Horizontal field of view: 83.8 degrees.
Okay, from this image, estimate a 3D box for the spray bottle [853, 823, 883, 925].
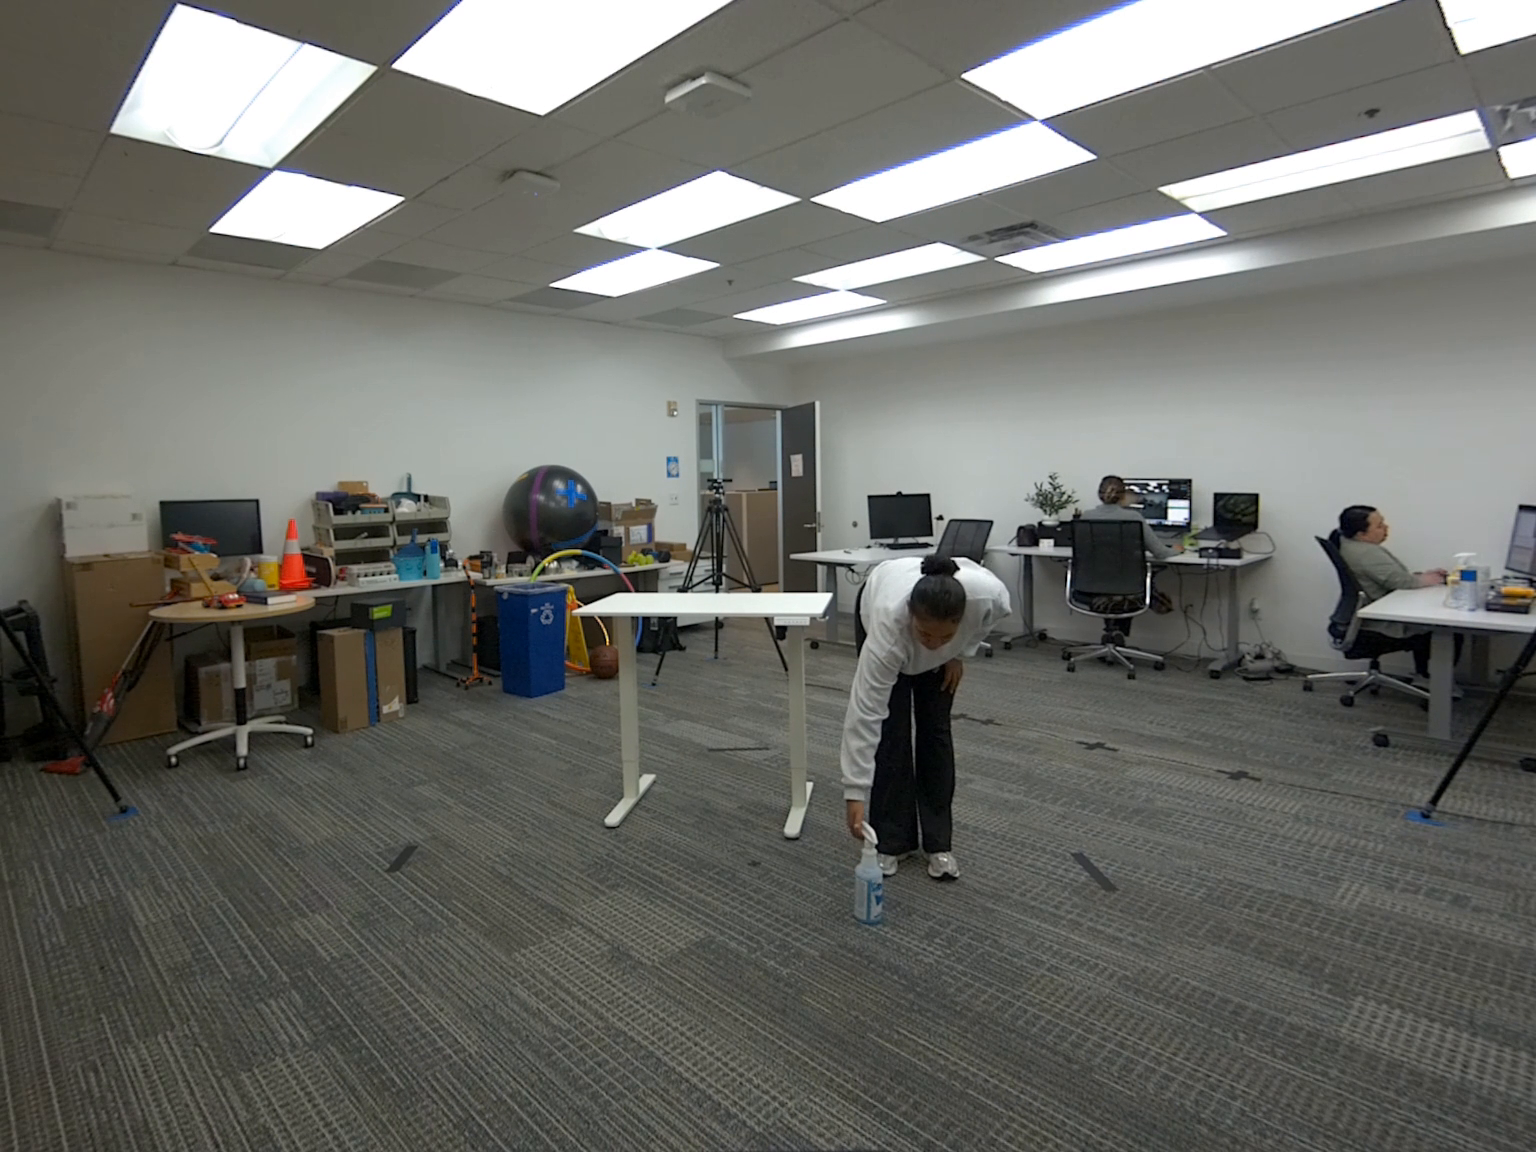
[{"bbox_3d":[0.329,0.933,2.695,0.087,0.296,0.091,-1,6,-3],"label":"spray bottle"}]
